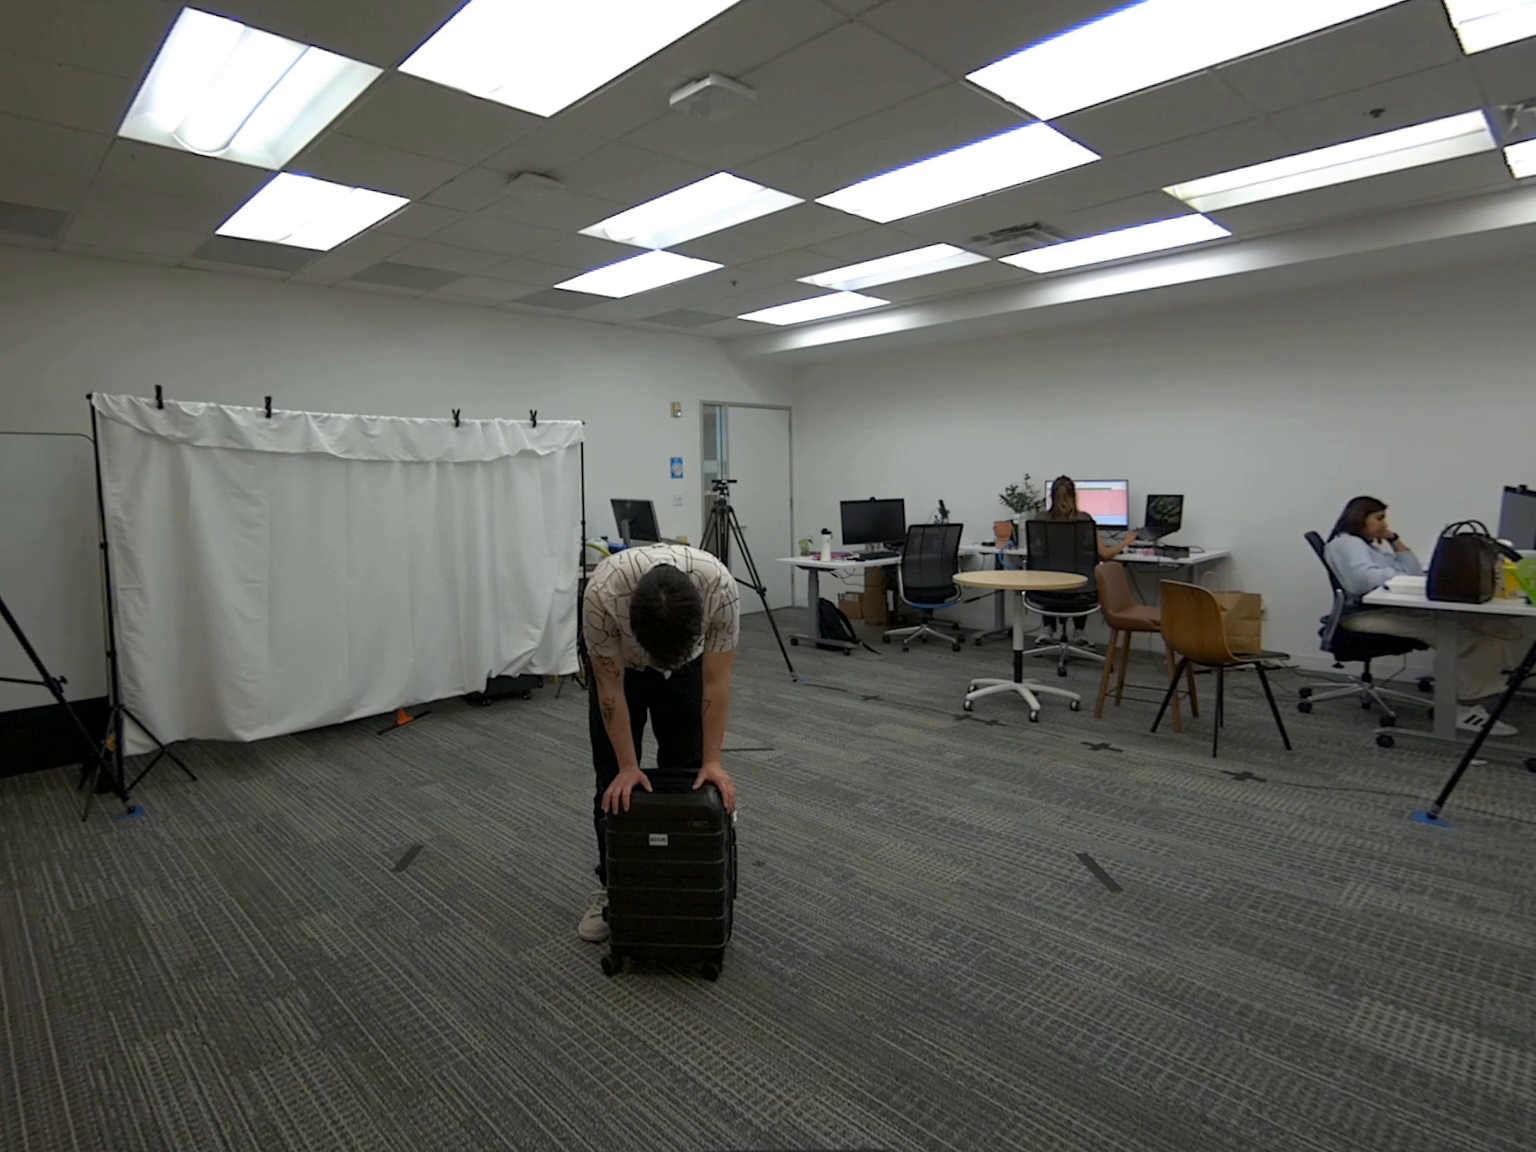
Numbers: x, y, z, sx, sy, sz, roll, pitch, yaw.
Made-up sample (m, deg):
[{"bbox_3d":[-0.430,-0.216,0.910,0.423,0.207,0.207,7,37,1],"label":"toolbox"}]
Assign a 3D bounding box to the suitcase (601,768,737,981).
[{"bbox_3d":[-0.279,0.852,2.492,0.377,0.546,0.248,0,6,4],"label":"suitcase"}]
